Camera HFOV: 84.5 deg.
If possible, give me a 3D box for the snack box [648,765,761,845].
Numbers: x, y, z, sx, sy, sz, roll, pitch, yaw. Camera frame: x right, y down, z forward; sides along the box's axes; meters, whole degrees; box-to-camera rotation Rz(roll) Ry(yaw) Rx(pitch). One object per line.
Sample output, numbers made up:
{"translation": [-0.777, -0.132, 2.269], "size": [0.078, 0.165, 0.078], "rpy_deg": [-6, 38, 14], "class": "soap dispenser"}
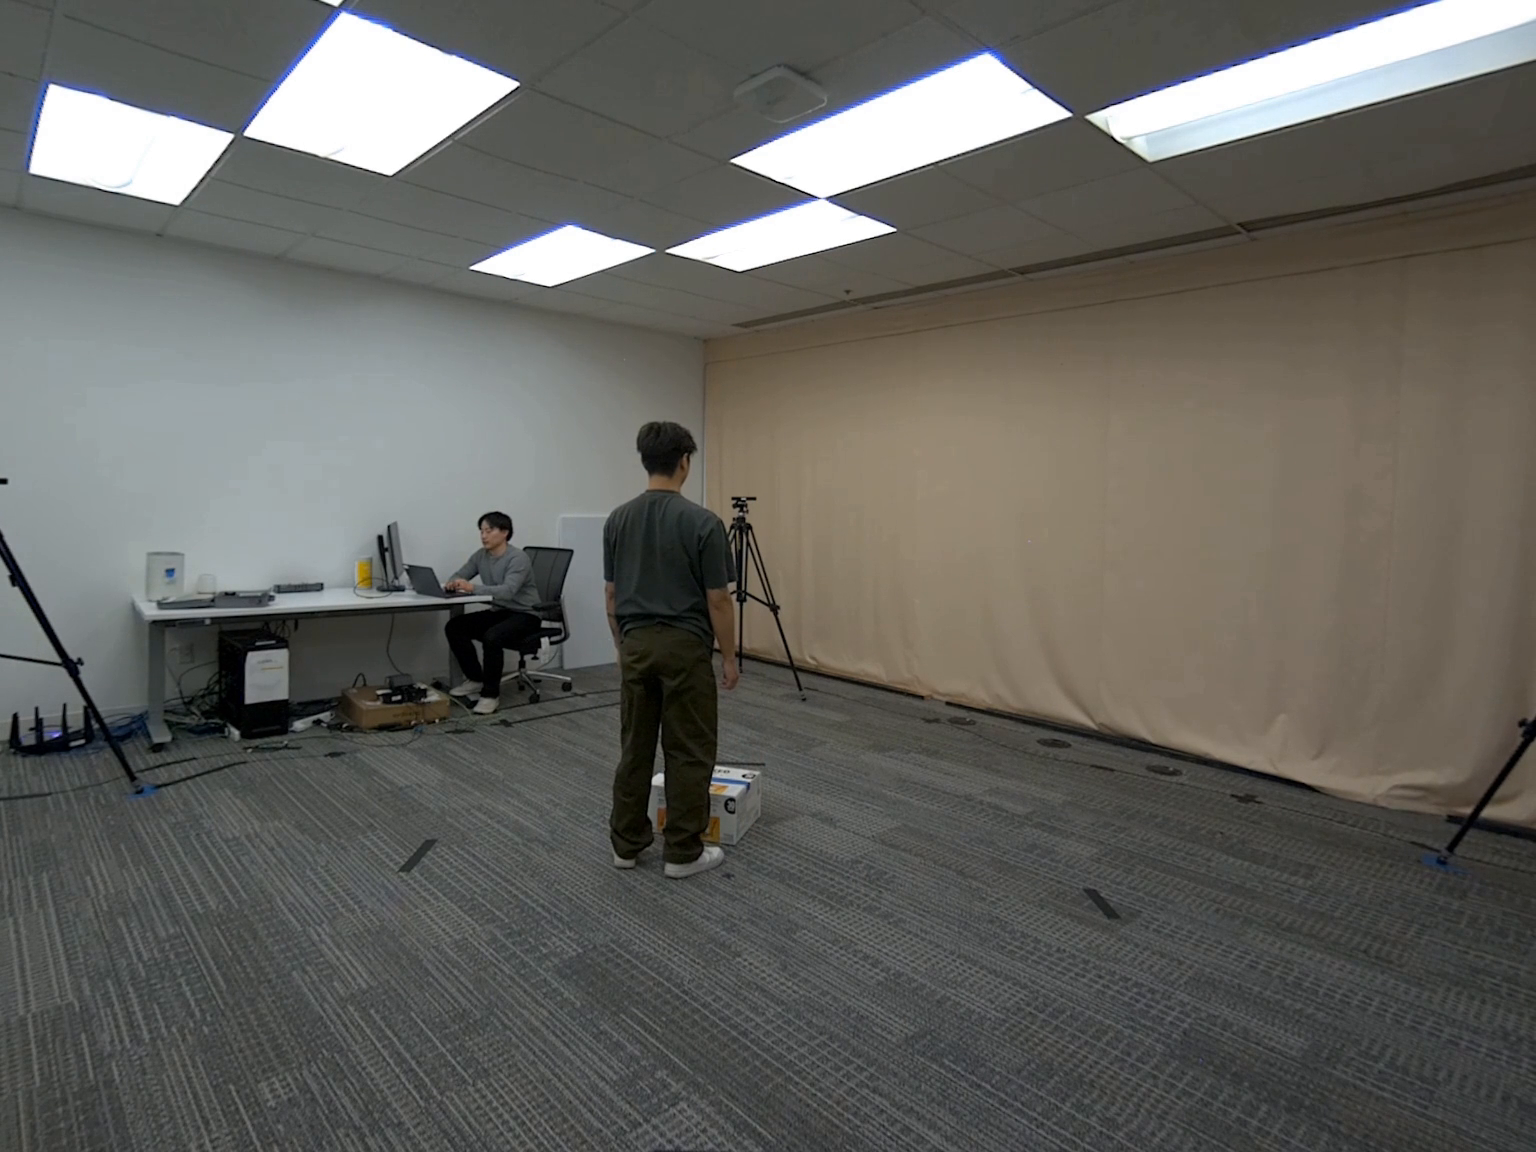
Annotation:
{"translation": [-0.288, 0.964, 3.593], "size": [0.411, 0.205, 0.336], "rpy_deg": [2, 5, 18], "class": "snack box"}
